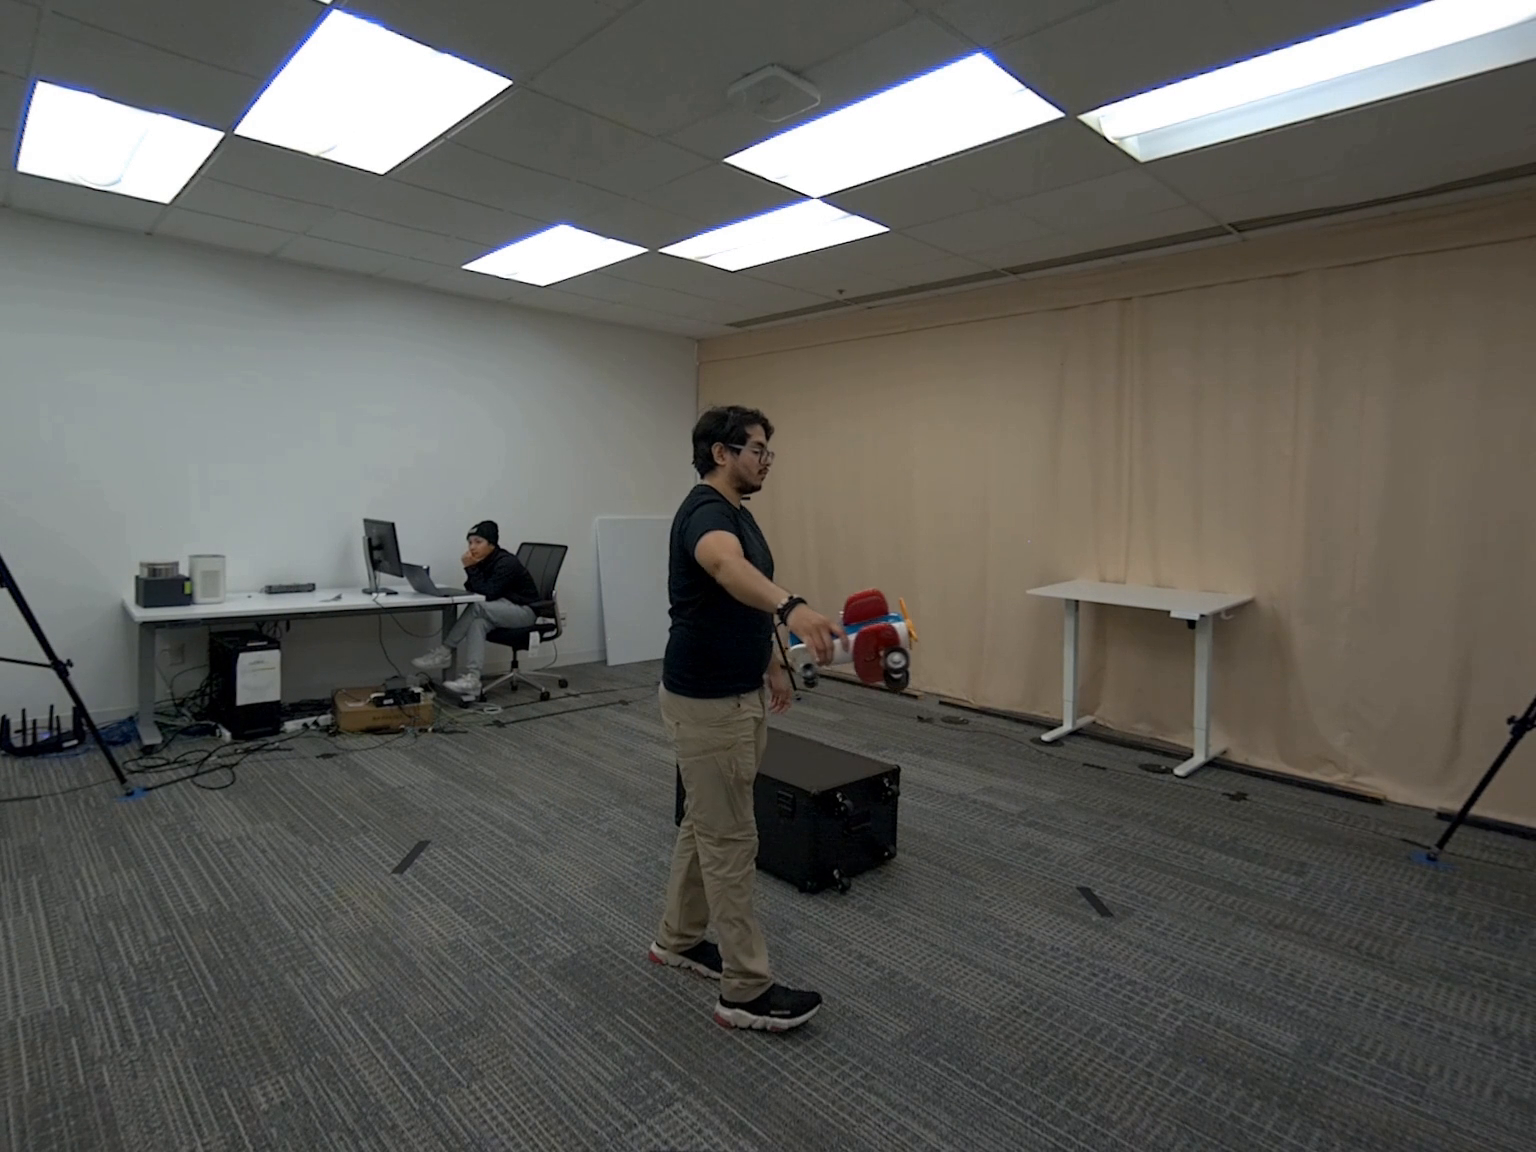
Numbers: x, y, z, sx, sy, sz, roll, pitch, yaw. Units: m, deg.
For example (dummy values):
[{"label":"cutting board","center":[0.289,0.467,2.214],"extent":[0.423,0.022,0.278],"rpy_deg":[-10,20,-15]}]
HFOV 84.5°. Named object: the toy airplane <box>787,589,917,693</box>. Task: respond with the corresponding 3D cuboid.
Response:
[{"label":"toy airplane","center":[0.169,0.142,1.728],"extent":[0.256,0.159,0.250],"rpy_deg":[14,-32,-14]}]
